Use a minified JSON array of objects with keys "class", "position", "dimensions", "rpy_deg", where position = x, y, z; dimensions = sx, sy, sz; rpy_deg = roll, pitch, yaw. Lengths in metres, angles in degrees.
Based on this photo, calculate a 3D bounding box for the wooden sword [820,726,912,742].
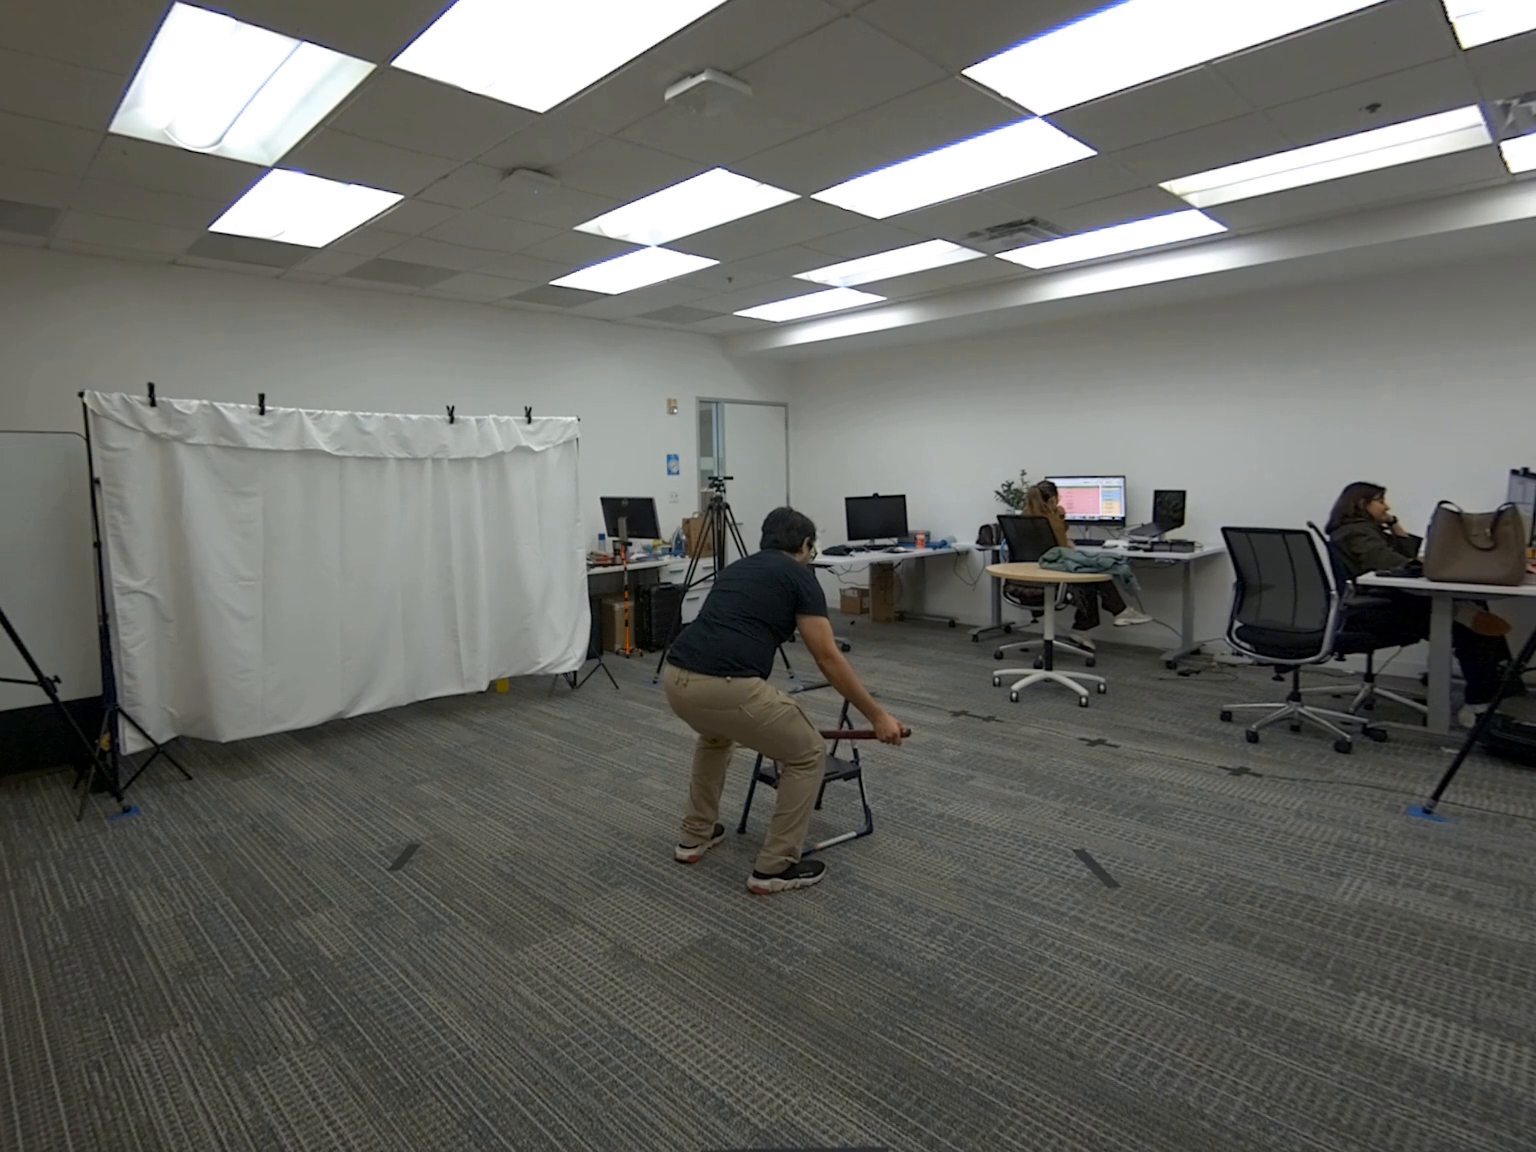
[{"class":"wooden sword","position":[0.160,0.581,3.277],"dimensions":[0.050,0.024,1.049],"rpy_deg":[2,-5,-38]}]
